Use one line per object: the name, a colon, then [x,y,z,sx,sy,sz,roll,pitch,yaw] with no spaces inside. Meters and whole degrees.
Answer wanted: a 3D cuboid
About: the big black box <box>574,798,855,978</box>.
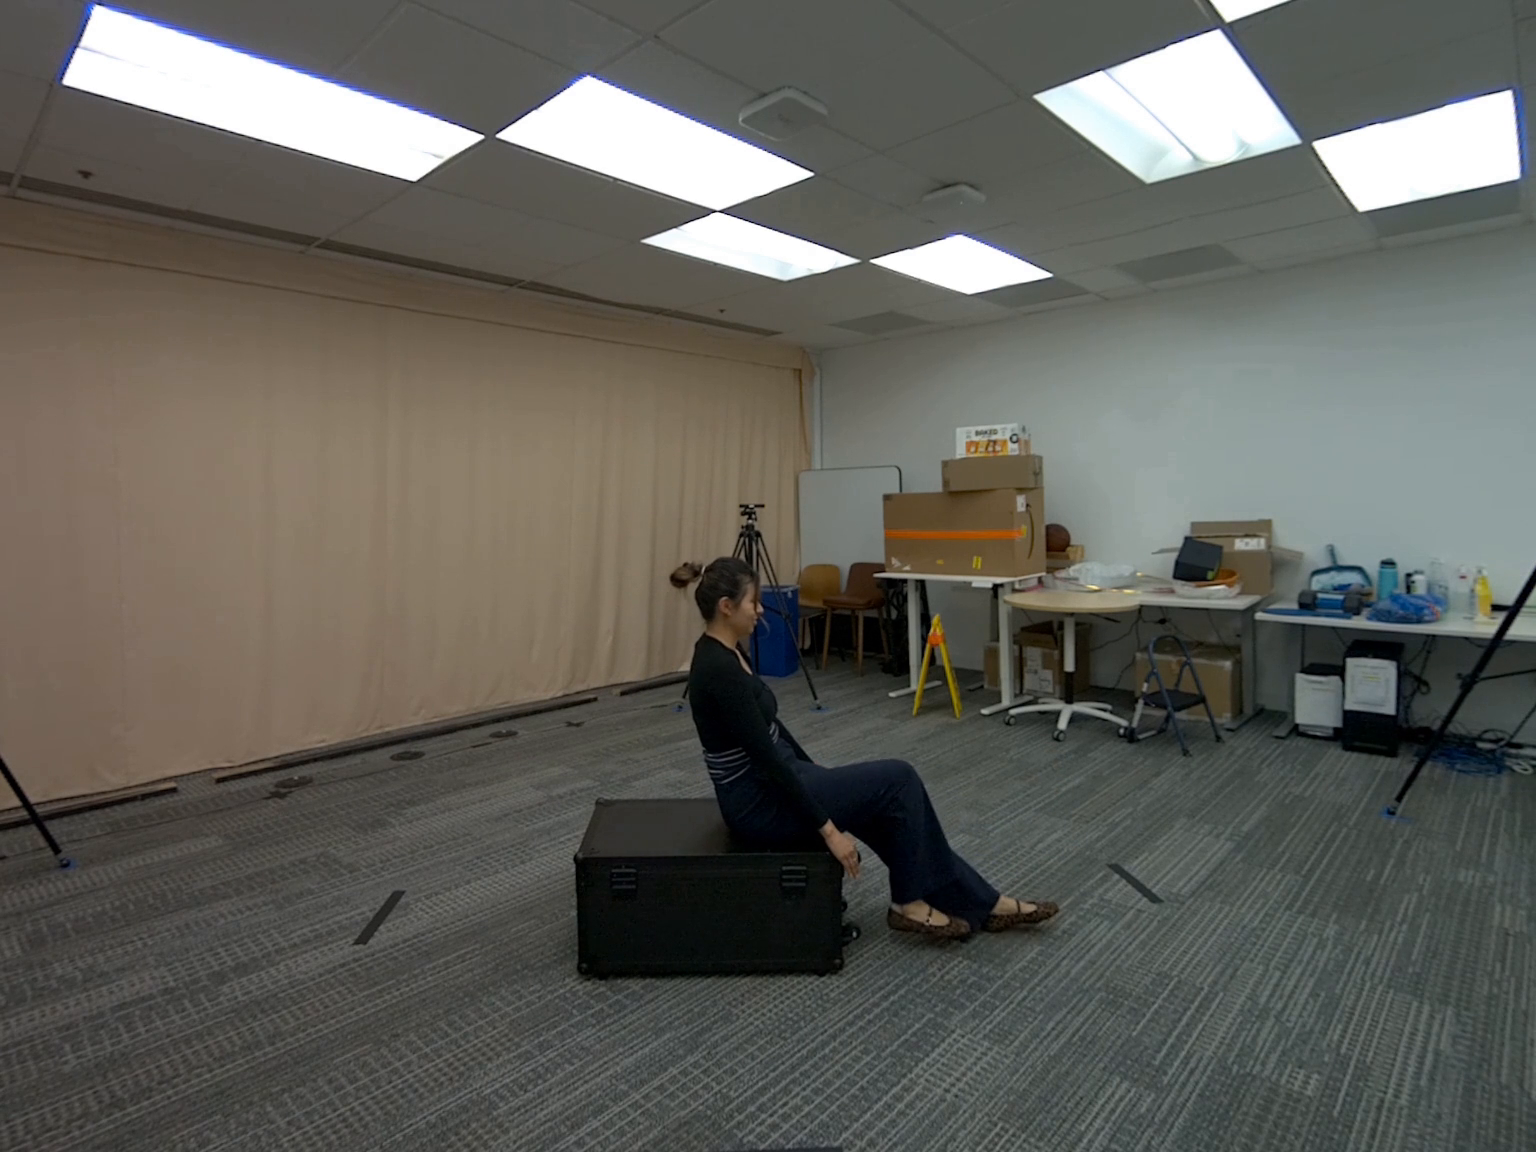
big black box: [-0.153,0.976,2.697,0.860,0.395,0.523,0,4,-2]
